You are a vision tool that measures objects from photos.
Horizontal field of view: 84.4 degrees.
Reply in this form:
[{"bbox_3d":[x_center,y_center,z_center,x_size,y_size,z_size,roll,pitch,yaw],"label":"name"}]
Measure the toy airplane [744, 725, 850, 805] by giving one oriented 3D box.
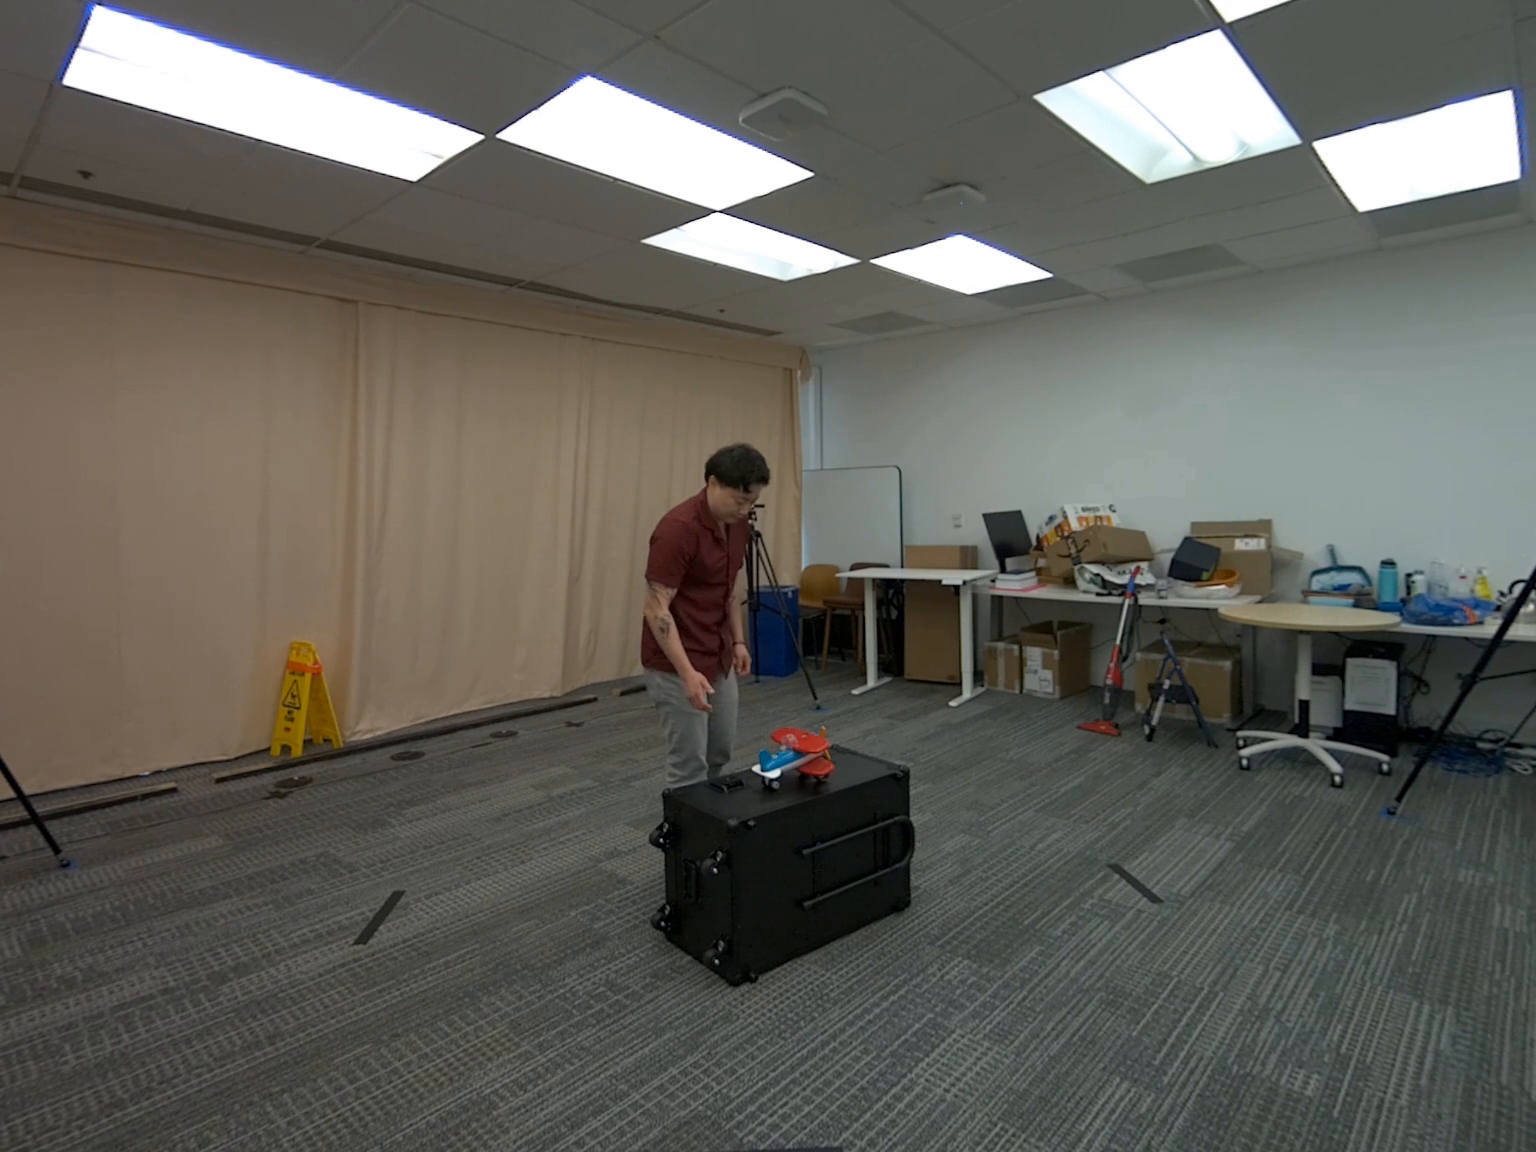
[{"bbox_3d":[0.096,0.599,2.731,0.258,0.156,0.252,2,3,28],"label":"toy airplane"}]
